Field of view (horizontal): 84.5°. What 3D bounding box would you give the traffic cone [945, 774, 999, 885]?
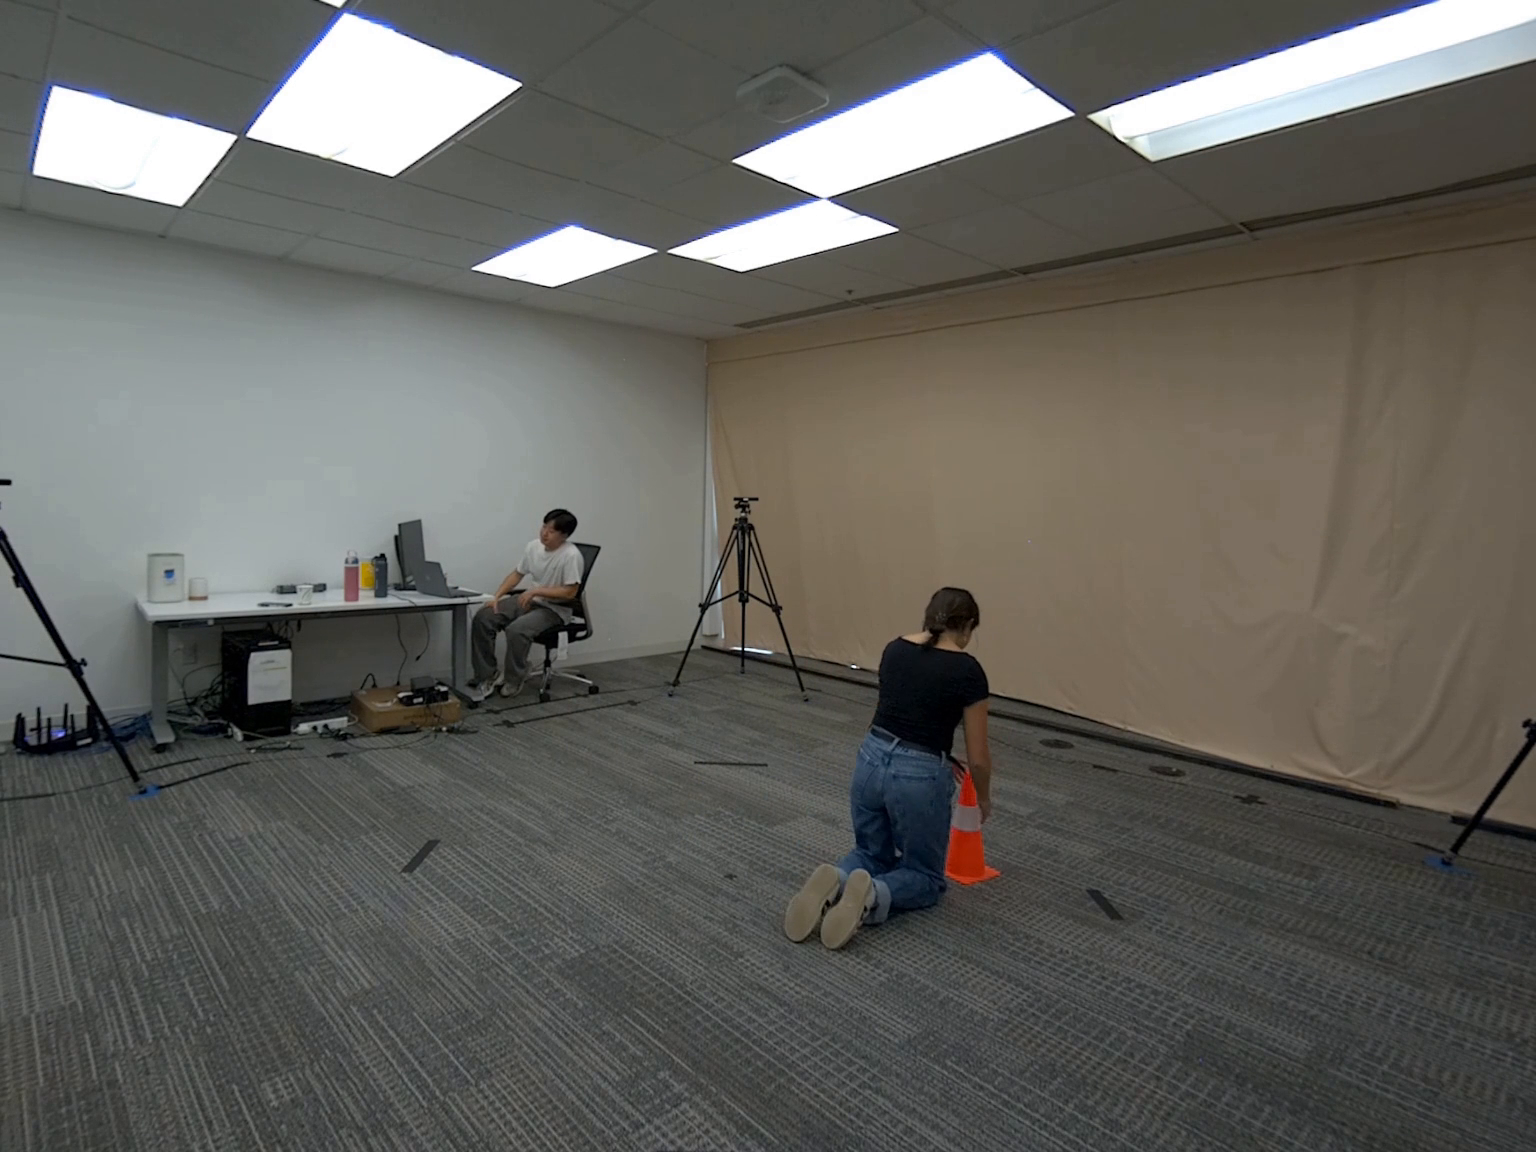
[{"bbox_3d":[0.749,0.938,3.202,0.199,0.382,0.210,0,6,-28],"label":"traffic cone"}]
